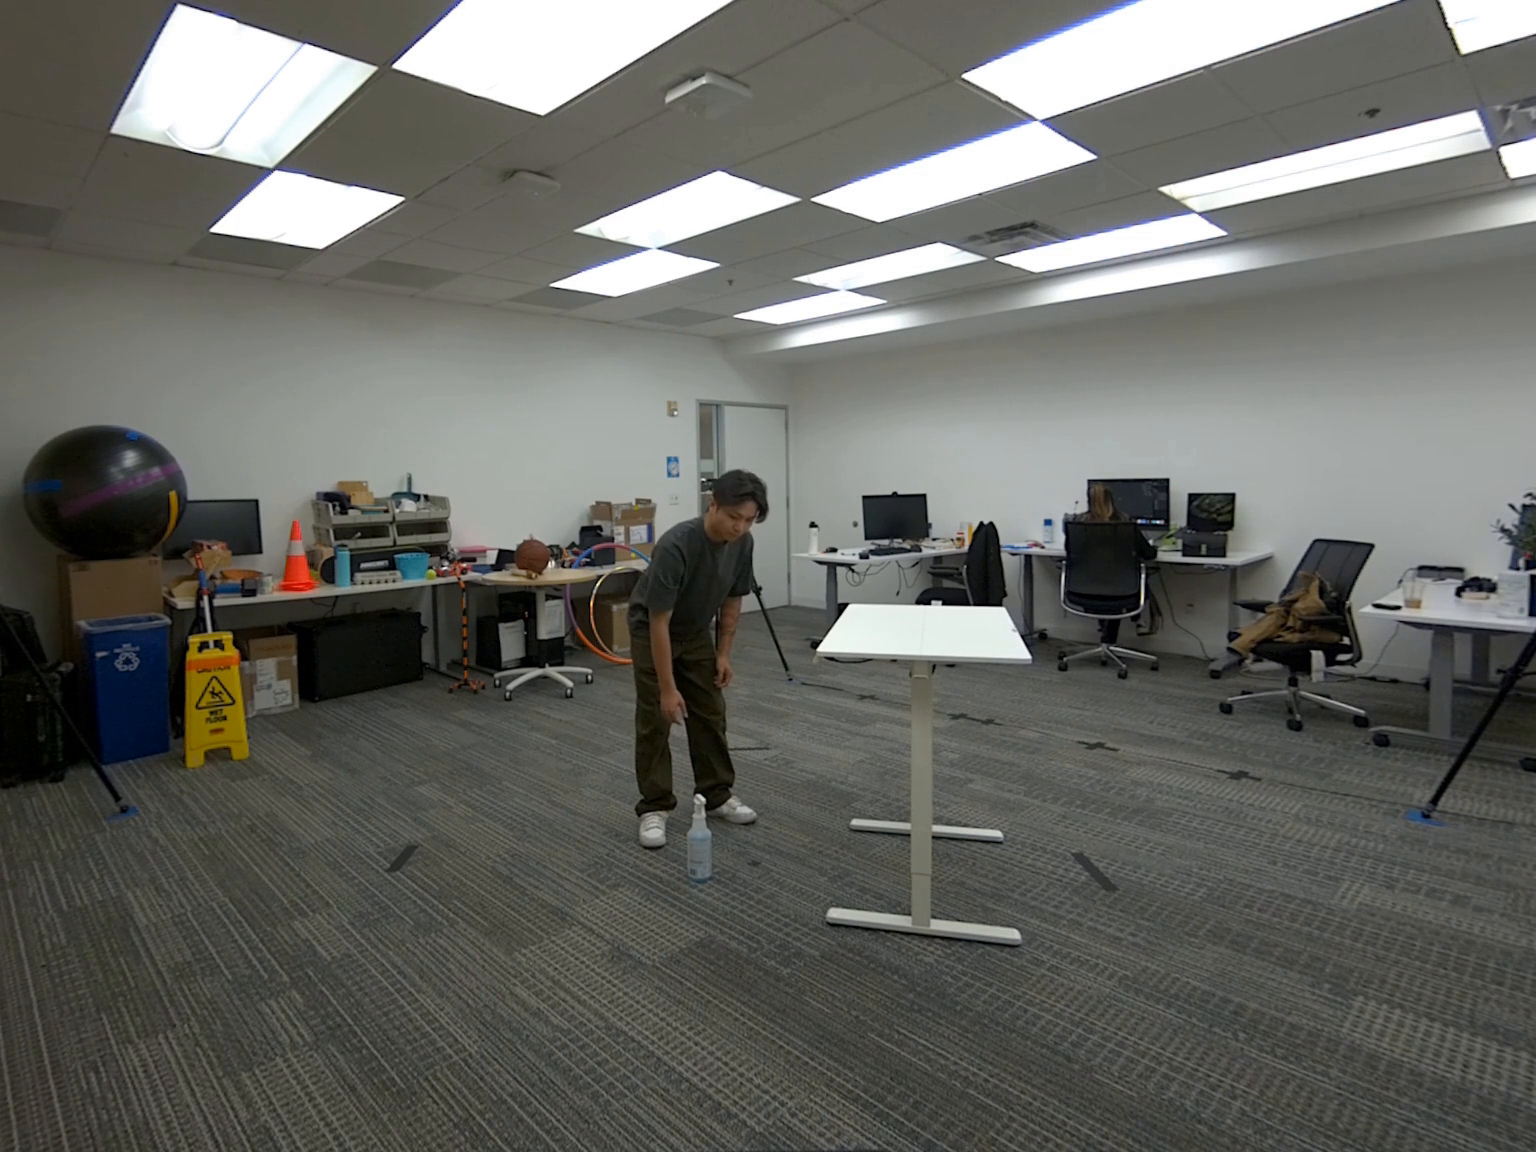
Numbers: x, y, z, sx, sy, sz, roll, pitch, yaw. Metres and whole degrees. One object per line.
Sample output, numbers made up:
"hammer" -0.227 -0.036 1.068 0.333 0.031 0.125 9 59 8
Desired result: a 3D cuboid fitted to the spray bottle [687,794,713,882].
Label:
"spray bottle" -0.241 0.919 2.996 0.087 0.296 0.090 1 6 1
